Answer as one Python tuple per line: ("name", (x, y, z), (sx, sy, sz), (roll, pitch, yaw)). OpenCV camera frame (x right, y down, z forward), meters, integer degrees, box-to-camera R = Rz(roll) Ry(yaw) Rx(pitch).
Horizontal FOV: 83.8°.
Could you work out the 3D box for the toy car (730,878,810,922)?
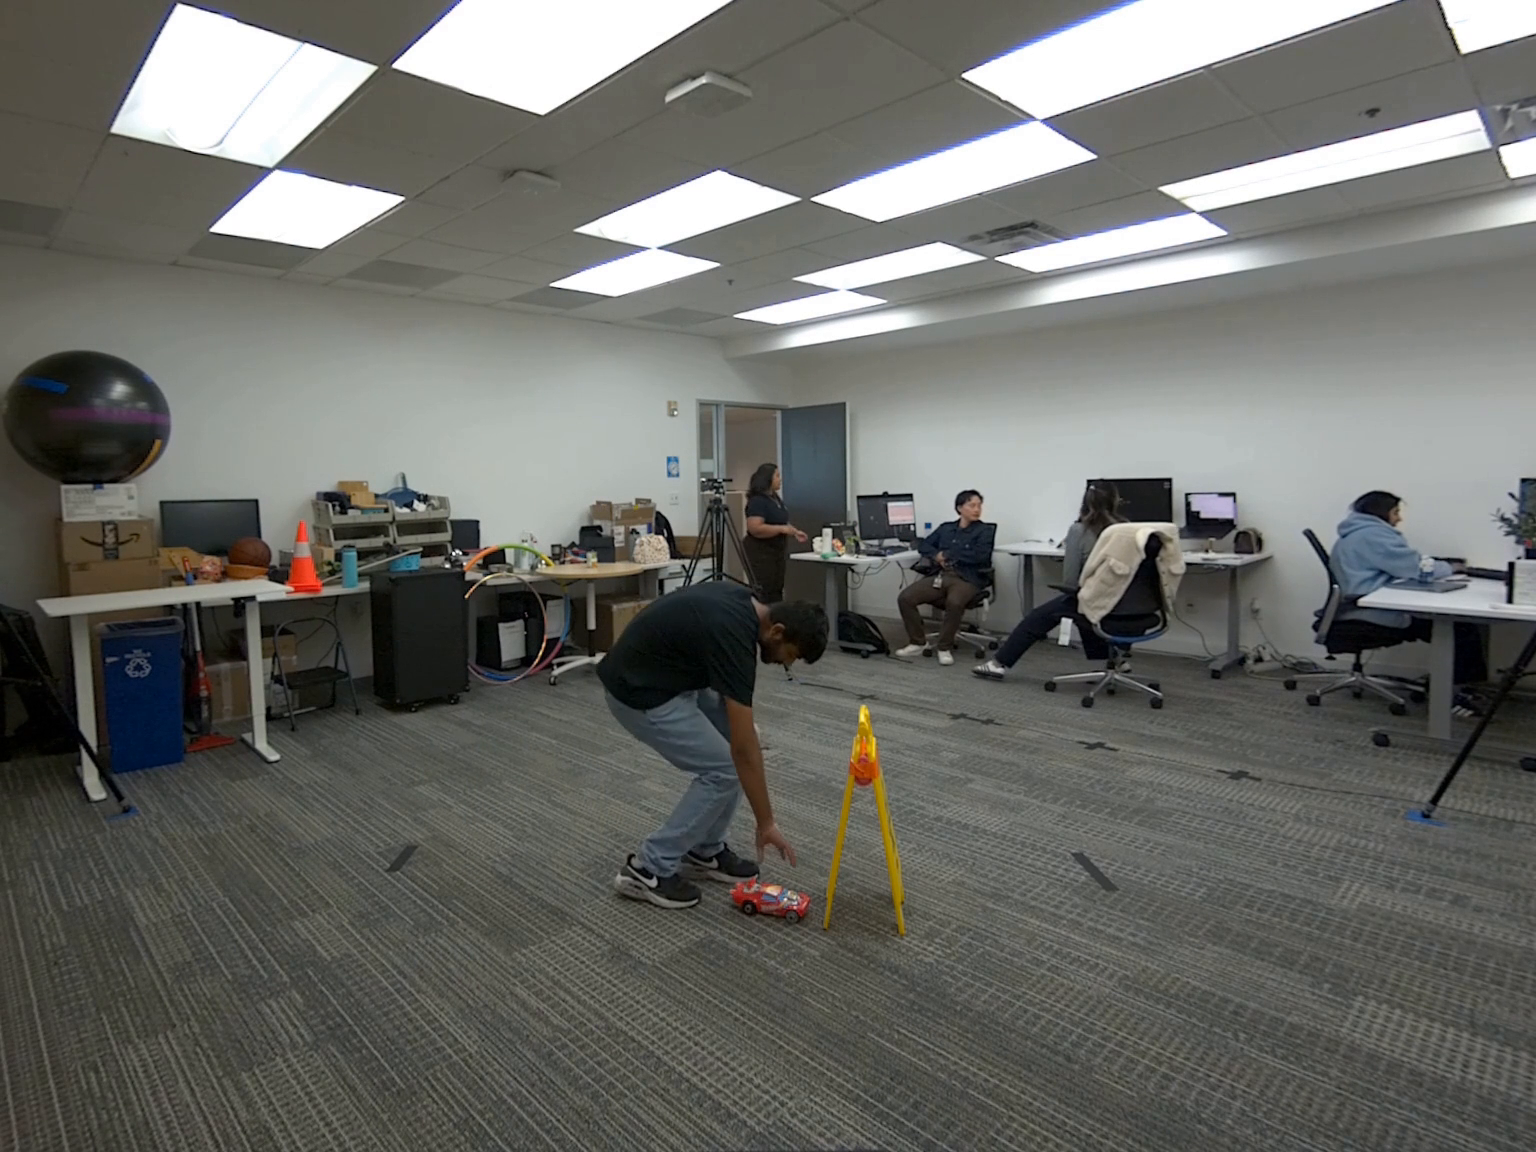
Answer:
("toy car", (0.008, 1.049, 2.770), (0.260, 0.082, 0.128), (13, 11, 20))
